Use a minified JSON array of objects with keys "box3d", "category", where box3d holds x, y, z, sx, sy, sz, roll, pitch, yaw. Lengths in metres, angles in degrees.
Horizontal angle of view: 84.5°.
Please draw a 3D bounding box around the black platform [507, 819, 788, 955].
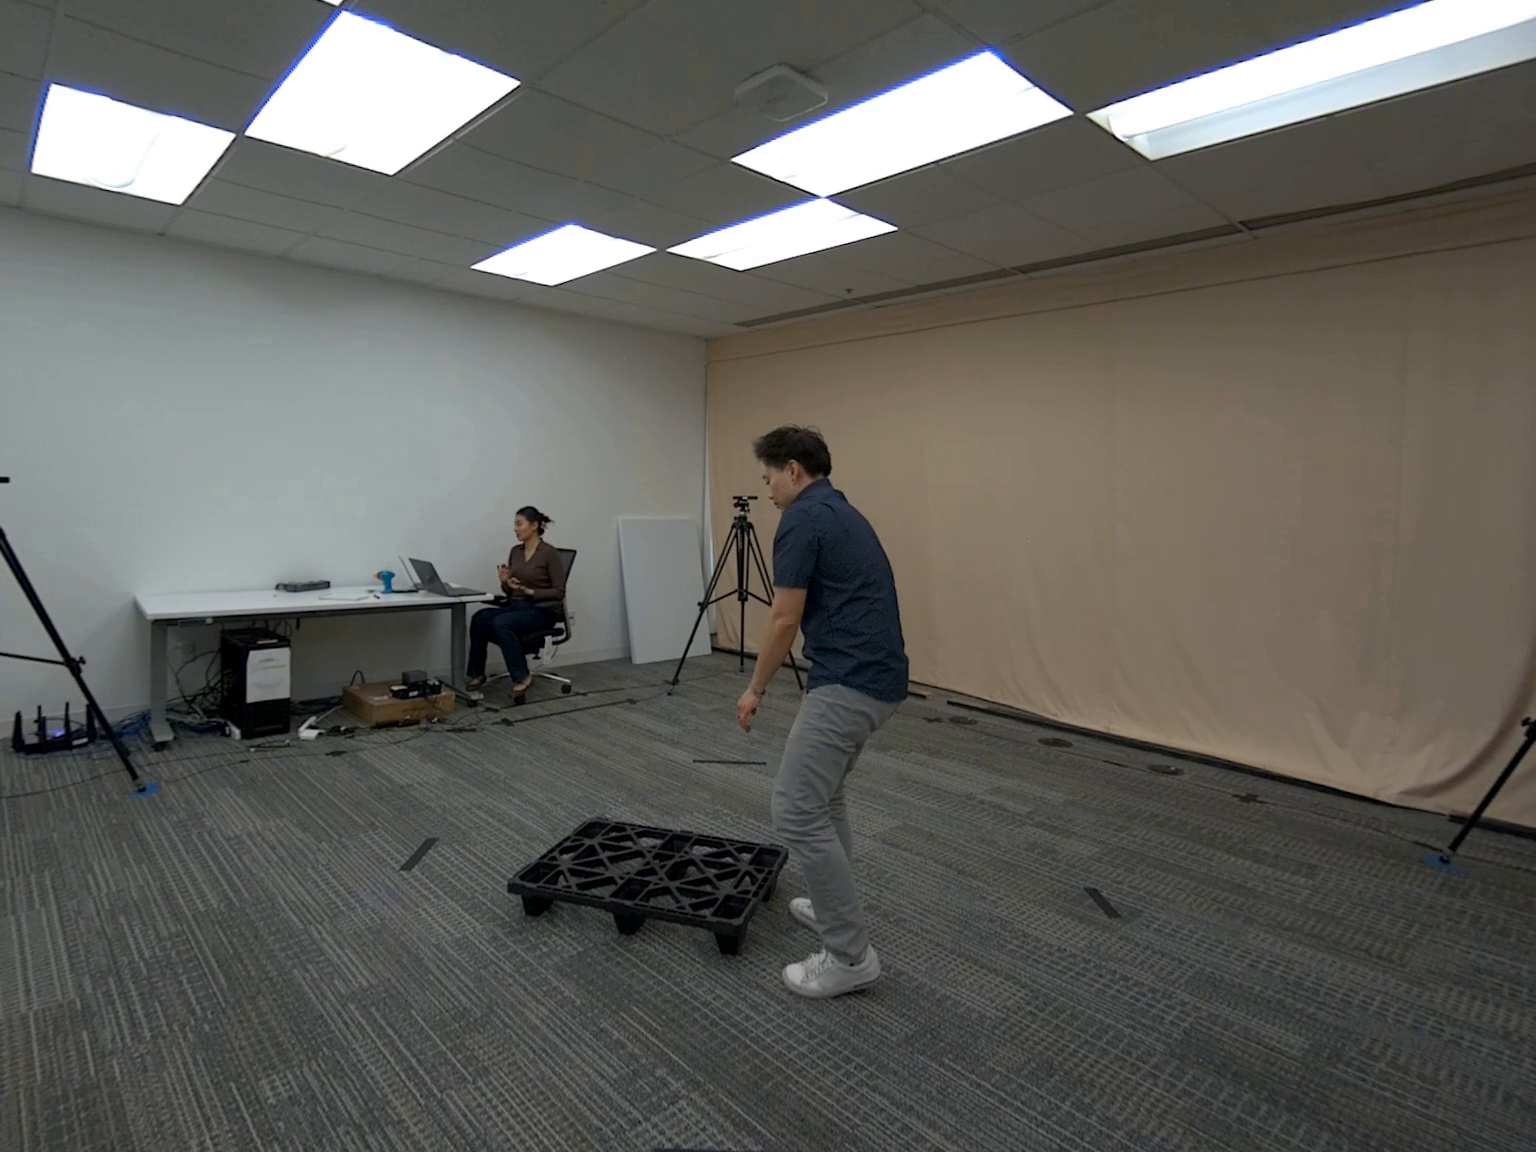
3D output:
[{"box3d":[-0.389,1.051,2.878,0.817,0.143,0.599,3,6,17],"category":"black platform"}]
